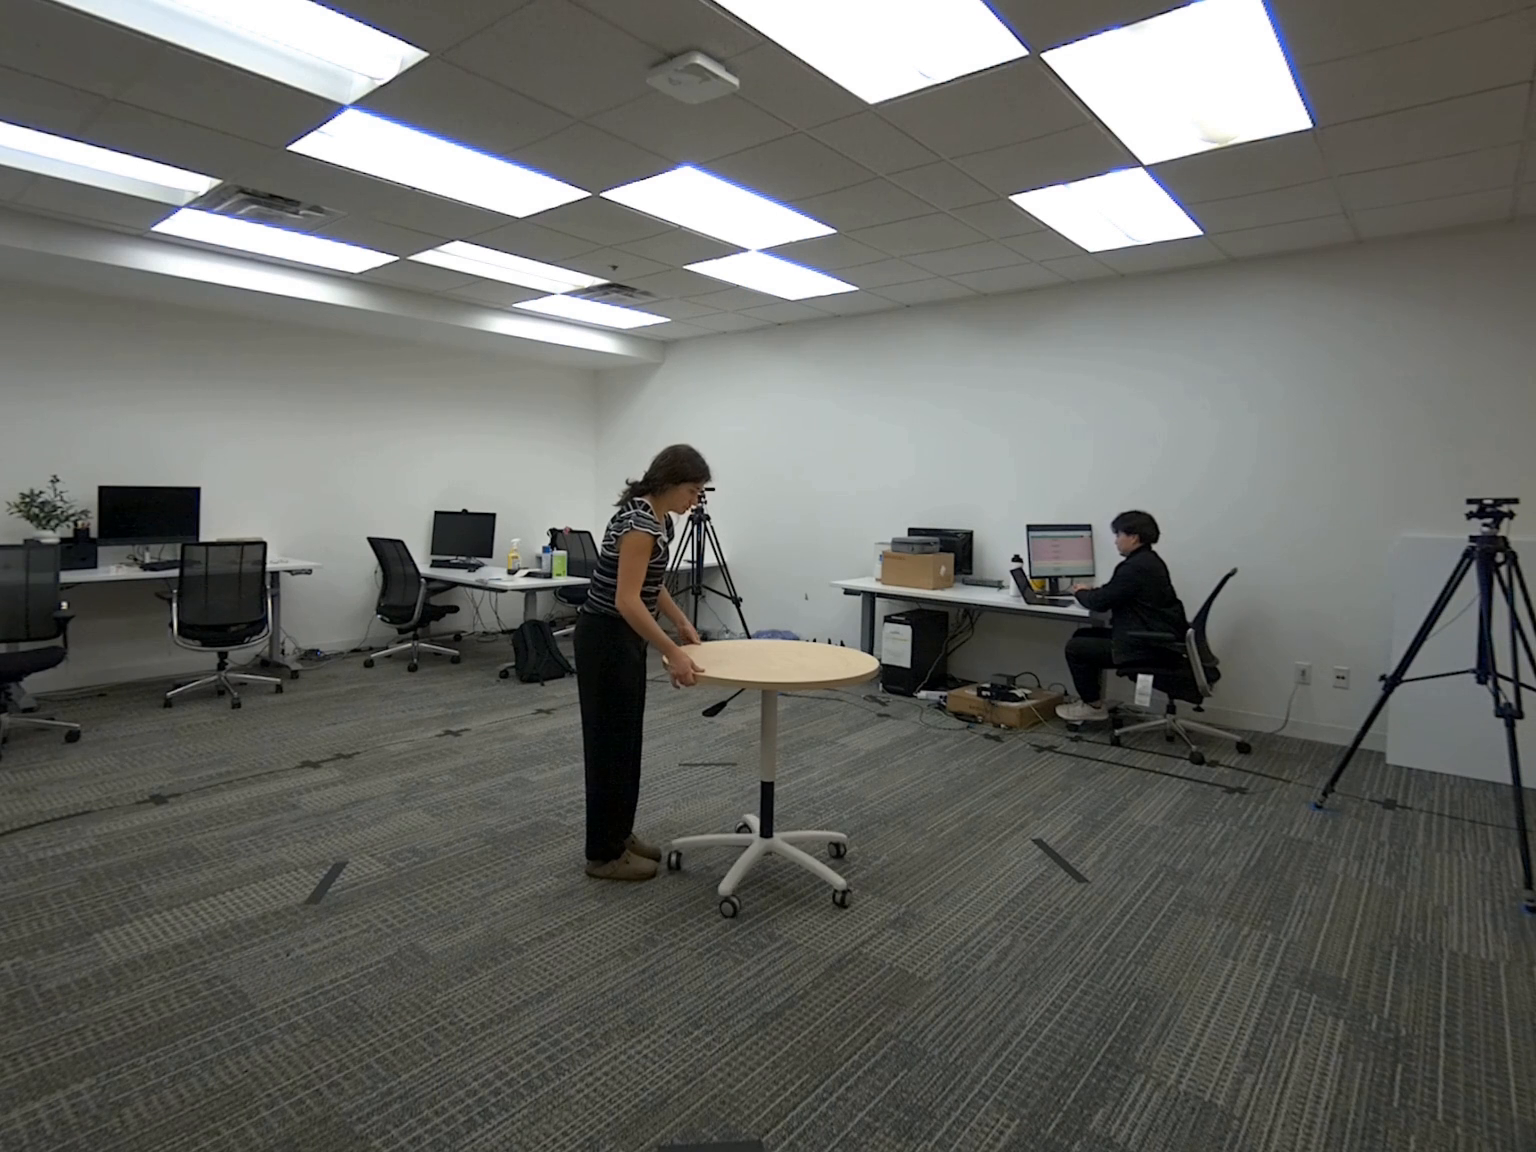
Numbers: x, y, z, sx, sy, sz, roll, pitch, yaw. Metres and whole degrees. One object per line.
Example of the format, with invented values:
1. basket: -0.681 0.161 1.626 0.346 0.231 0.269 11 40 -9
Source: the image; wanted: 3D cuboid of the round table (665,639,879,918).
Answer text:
1. round table: -0.005 0.683 3.062 0.784 0.784 0.789 1 4 -2
